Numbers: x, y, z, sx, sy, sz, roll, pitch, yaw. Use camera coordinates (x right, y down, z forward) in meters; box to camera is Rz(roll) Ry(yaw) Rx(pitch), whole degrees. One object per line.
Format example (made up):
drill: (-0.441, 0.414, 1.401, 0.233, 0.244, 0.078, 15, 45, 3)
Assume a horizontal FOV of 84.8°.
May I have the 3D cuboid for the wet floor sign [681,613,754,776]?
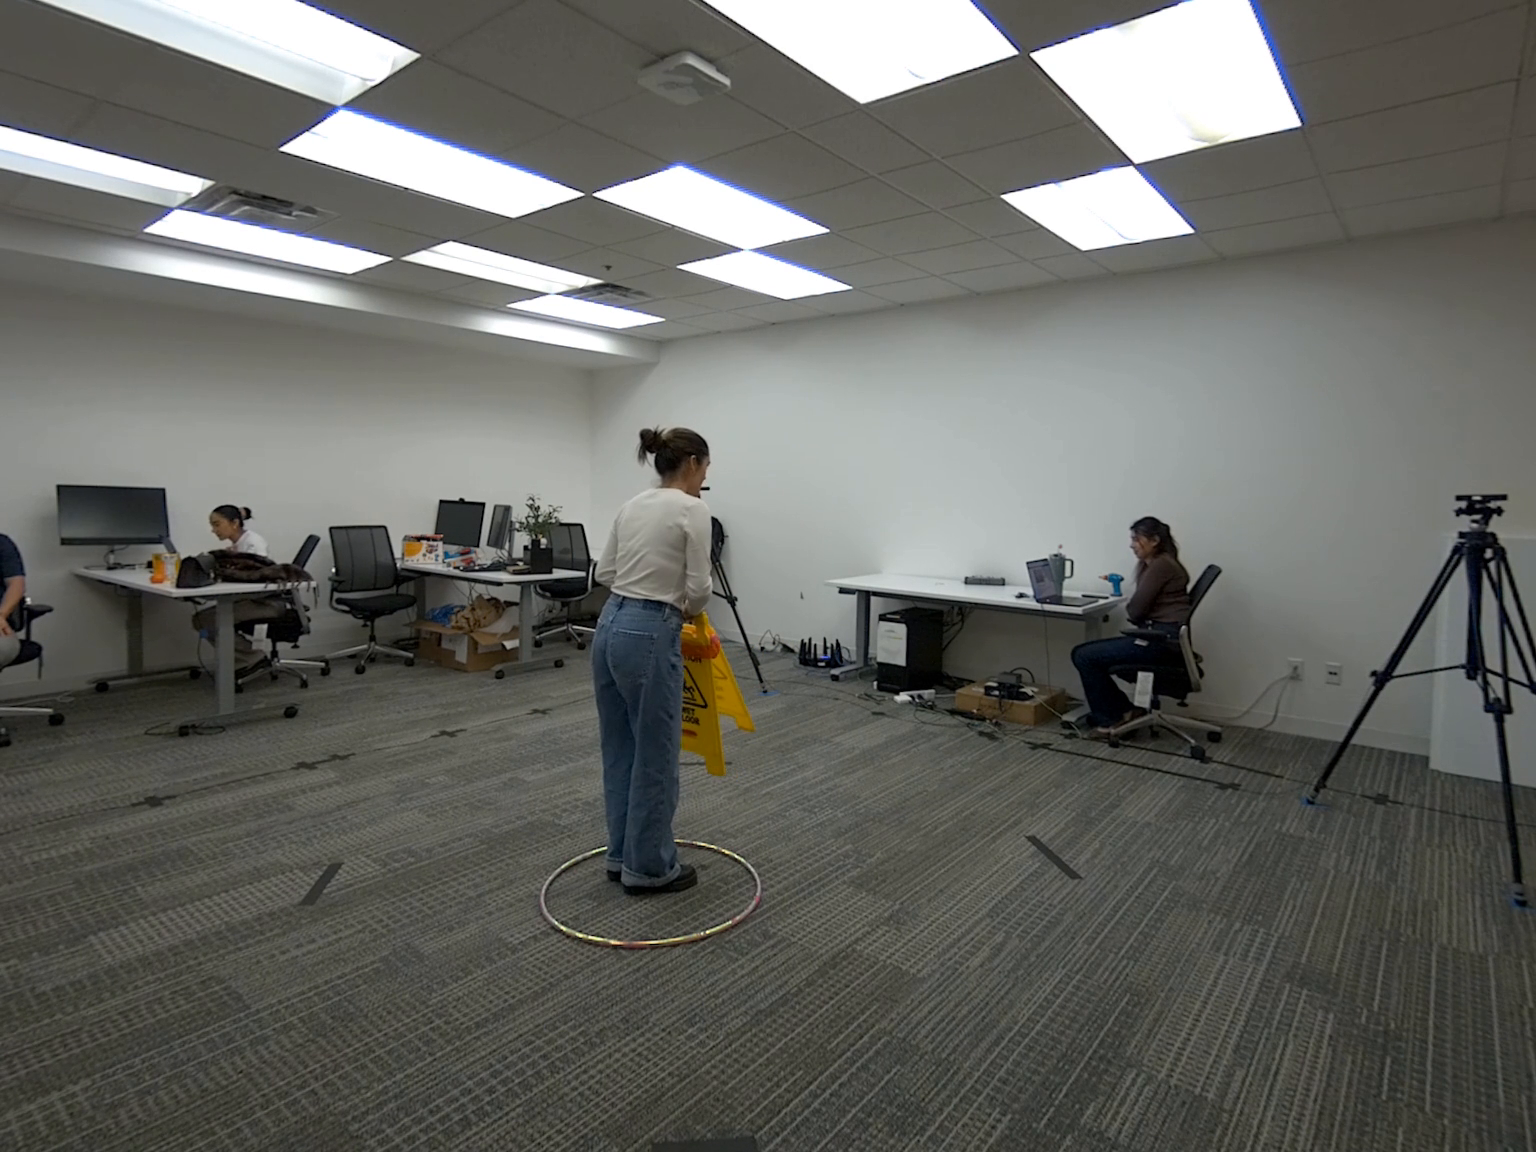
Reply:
wet floor sign: (-0.281, 0.403, 3.229, 0.290, 0.629, 0.289, 7, 30, 27)
